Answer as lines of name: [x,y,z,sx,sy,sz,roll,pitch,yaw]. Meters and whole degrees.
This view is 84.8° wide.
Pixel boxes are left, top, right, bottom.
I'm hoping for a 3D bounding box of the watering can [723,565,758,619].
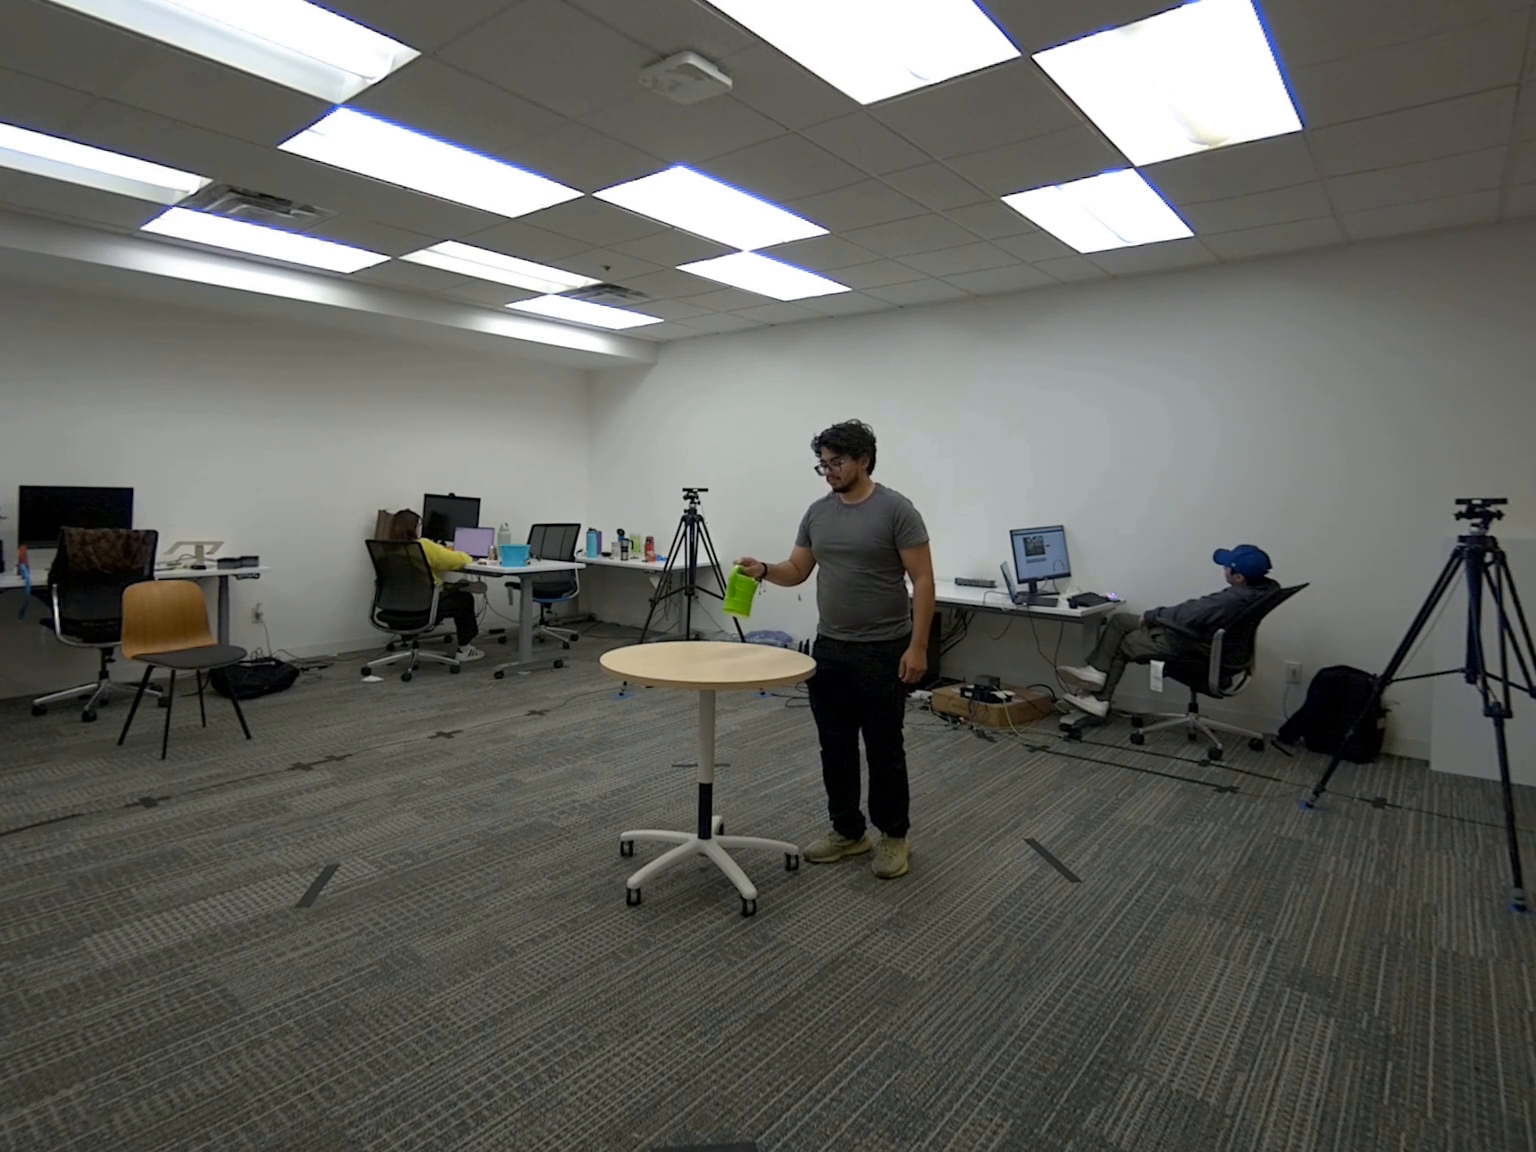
watering can: [-0.081,0.064,3.086,0.101,0.178,0.267,2,-13,38]
